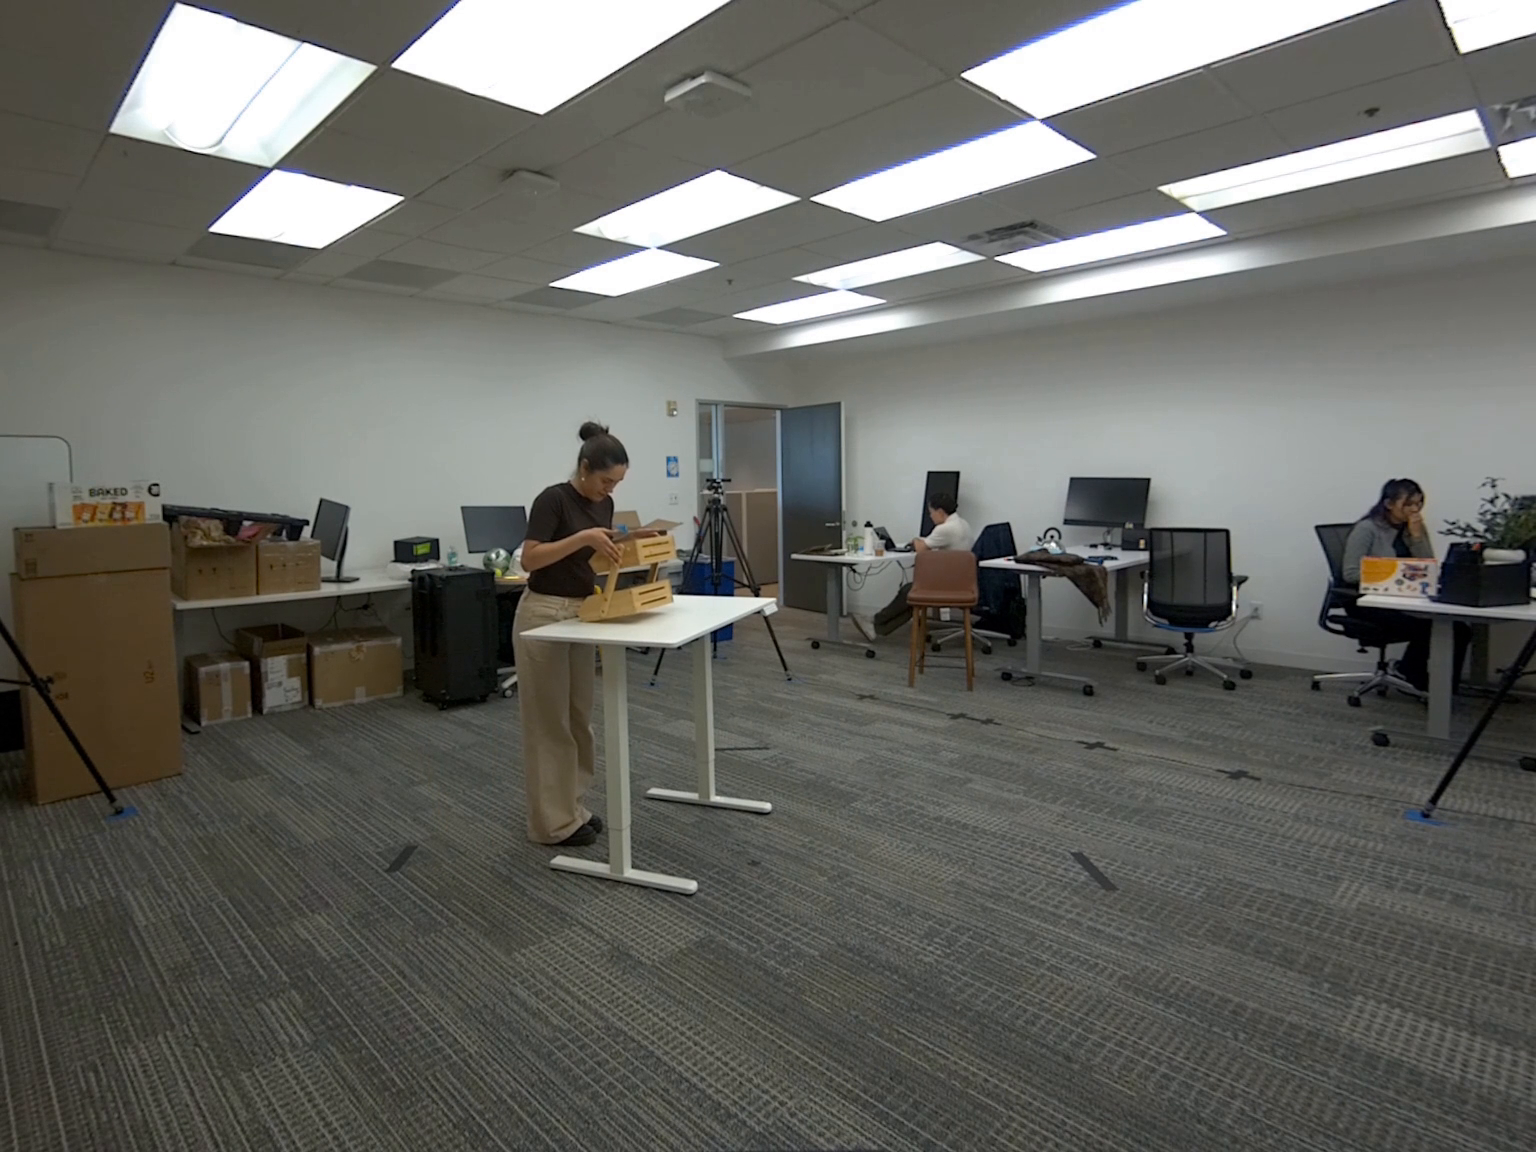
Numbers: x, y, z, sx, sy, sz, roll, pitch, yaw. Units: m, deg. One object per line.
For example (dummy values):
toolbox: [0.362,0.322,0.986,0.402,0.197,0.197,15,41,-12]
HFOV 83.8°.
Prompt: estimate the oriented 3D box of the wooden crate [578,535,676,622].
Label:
wooden crate: [-0.537,0.008,3.236,0.307,0.273,0.319,-10,2,23]
